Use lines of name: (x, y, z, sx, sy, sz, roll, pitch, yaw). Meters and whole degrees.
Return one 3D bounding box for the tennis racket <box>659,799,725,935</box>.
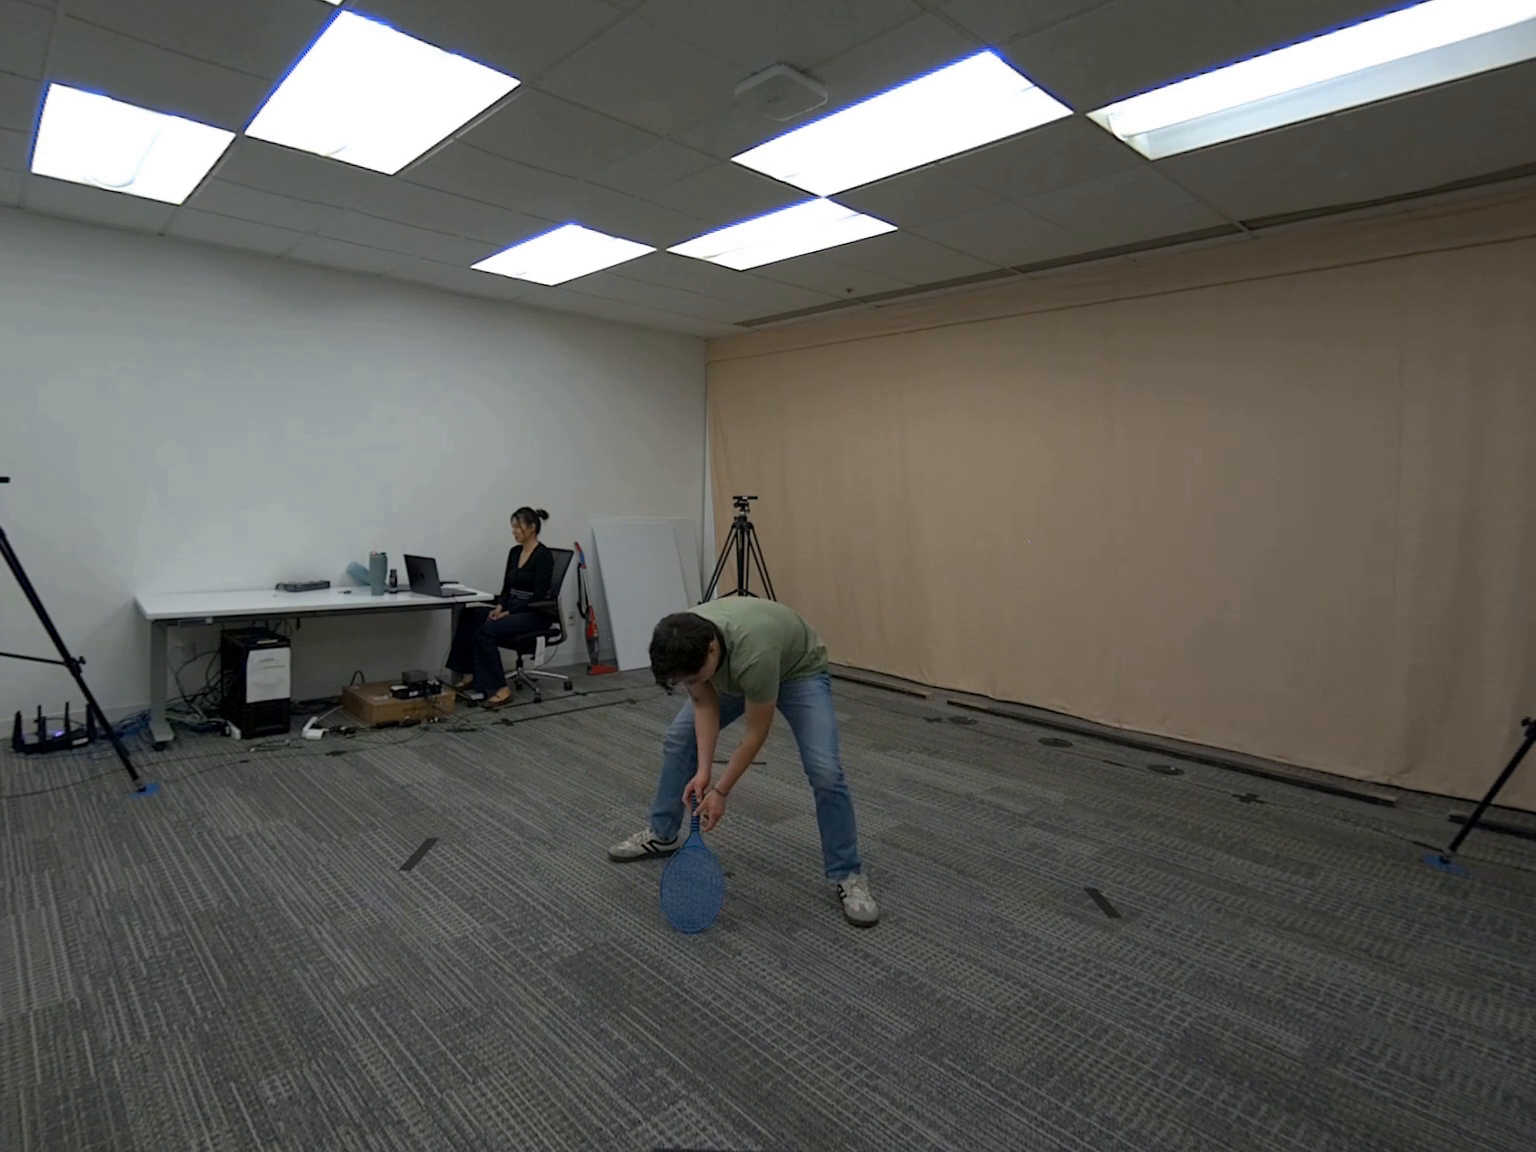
tennis racket: (-0.265, 0.943, 2.773, 0.214, 0.439, 0.031, 3, -24, 1)
